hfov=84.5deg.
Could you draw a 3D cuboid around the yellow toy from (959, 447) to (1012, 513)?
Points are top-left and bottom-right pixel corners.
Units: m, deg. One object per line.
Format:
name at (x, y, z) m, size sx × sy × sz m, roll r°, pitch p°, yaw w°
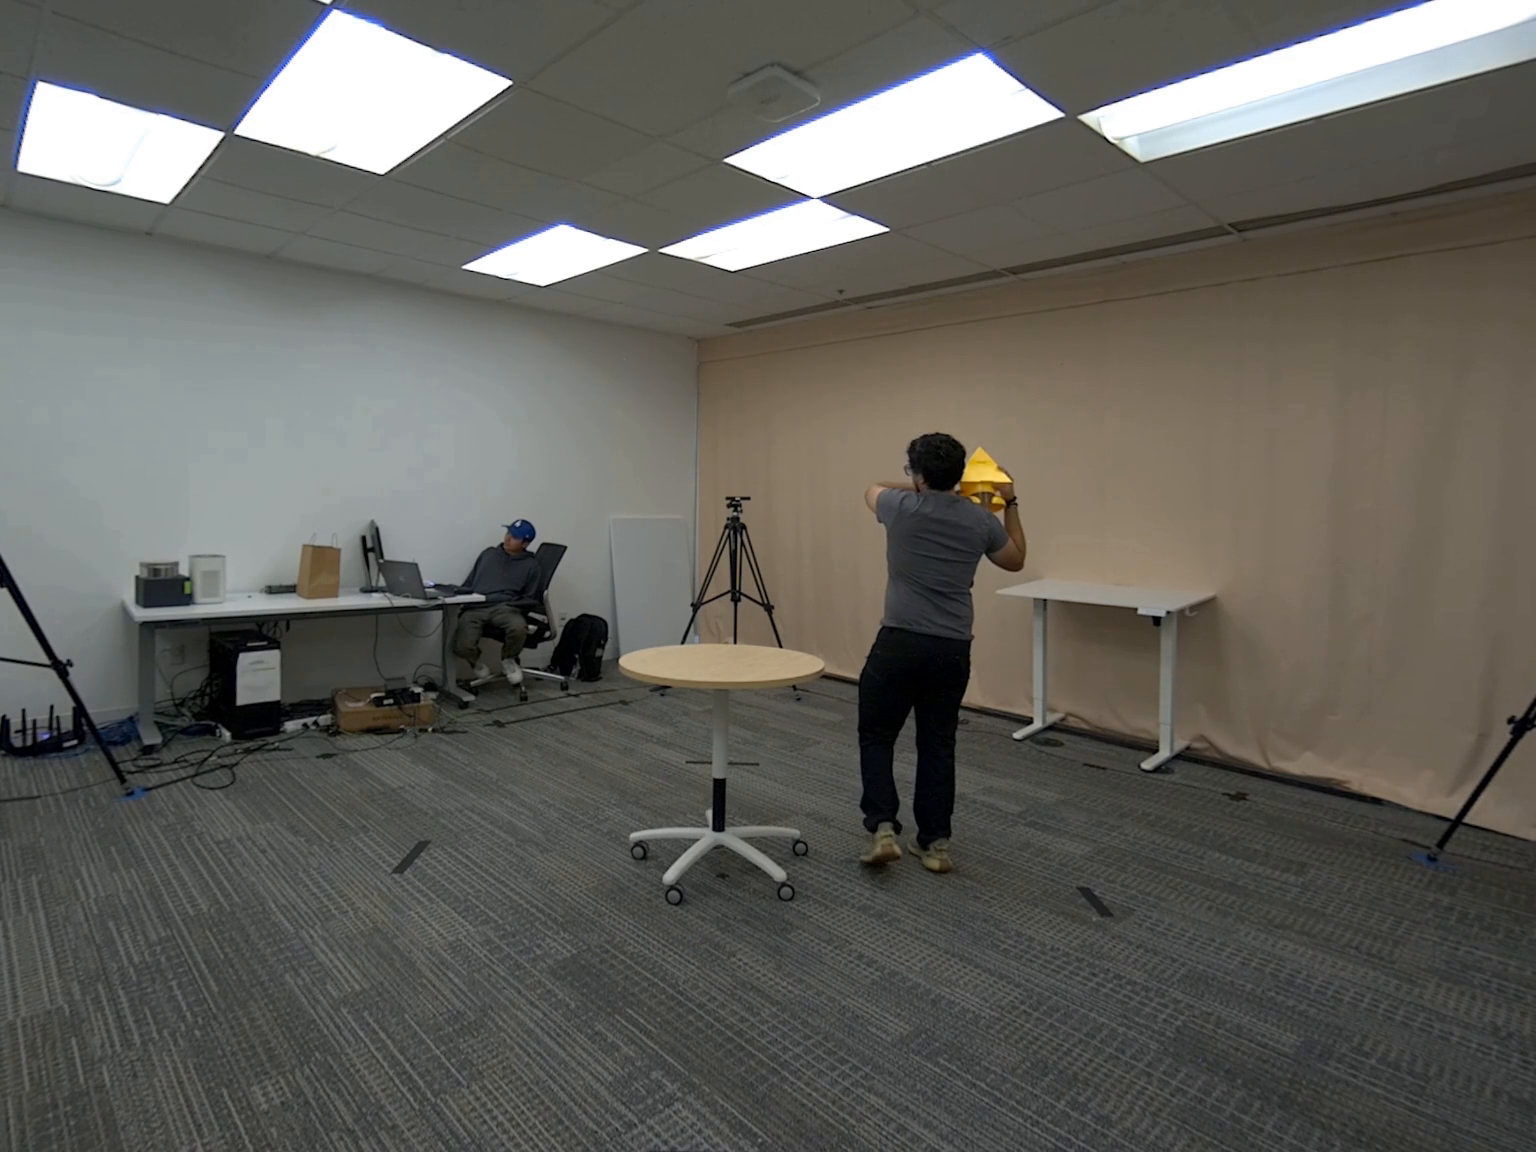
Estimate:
yellow toy at (0.802, -0.379, 3.313) m, size 0.203 × 0.233 × 0.192 m, roll 0°, pitch -13°, yaw -9°
